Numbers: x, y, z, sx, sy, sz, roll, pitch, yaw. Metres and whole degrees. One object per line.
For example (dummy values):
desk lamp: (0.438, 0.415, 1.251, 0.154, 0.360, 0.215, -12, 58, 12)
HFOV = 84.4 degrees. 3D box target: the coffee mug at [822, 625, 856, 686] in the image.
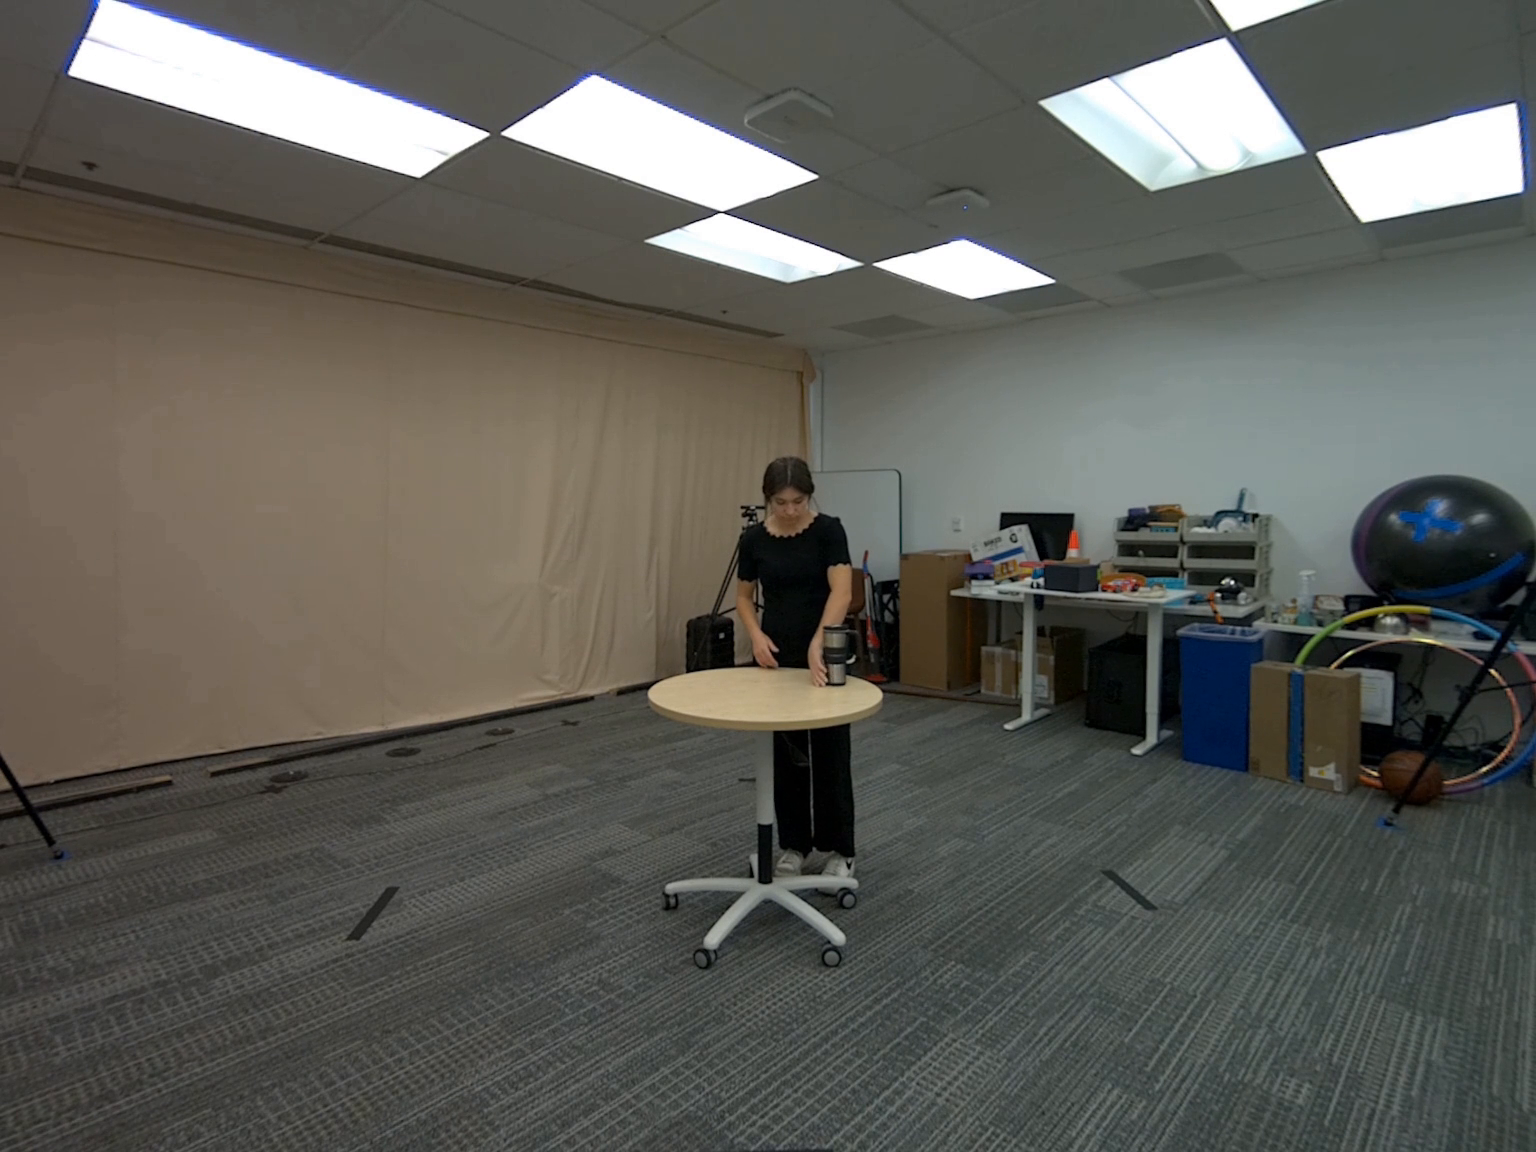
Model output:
coffee mug: (0.259, 0.271, 2.844, 0.126, 0.203, 0.085, -3, -5, 43)
